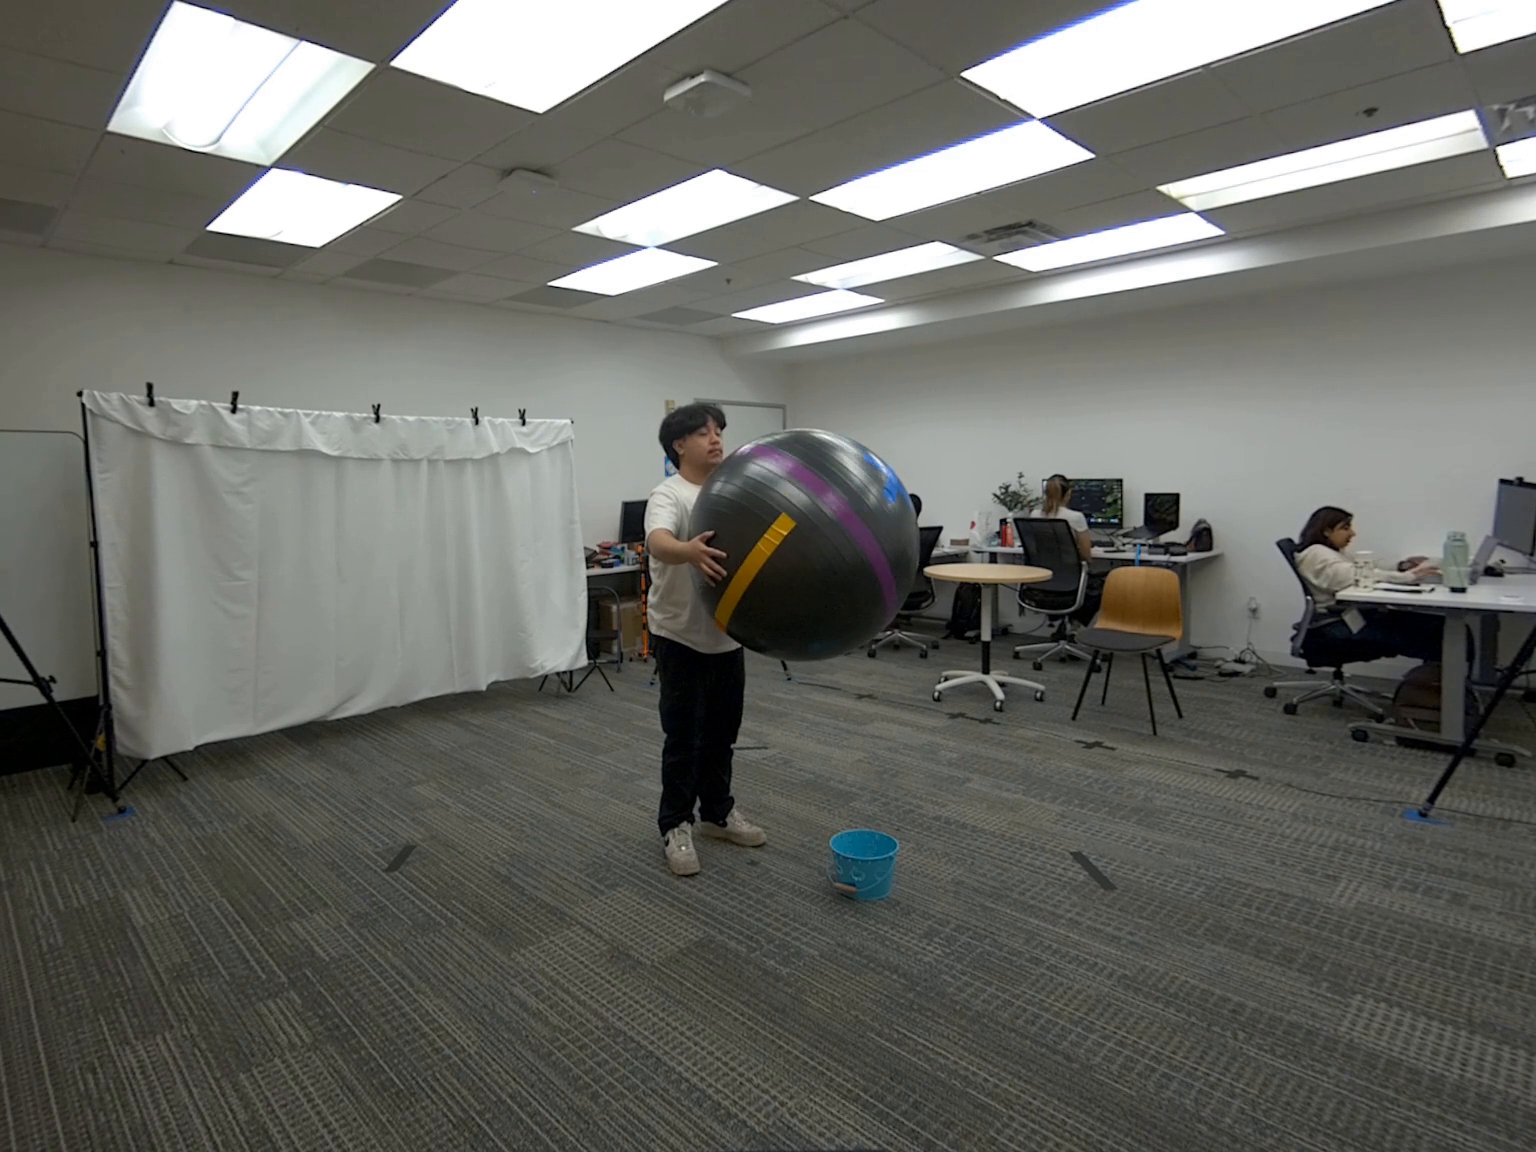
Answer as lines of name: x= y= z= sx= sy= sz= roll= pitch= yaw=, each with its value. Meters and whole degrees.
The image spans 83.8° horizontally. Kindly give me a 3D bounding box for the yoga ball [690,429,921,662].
yoga ball: x=0.119 y=-0.091 z=2.791 sx=0.757 sy=0.755 sz=0.762 roll=-1 pitch=5 yaw=-2
